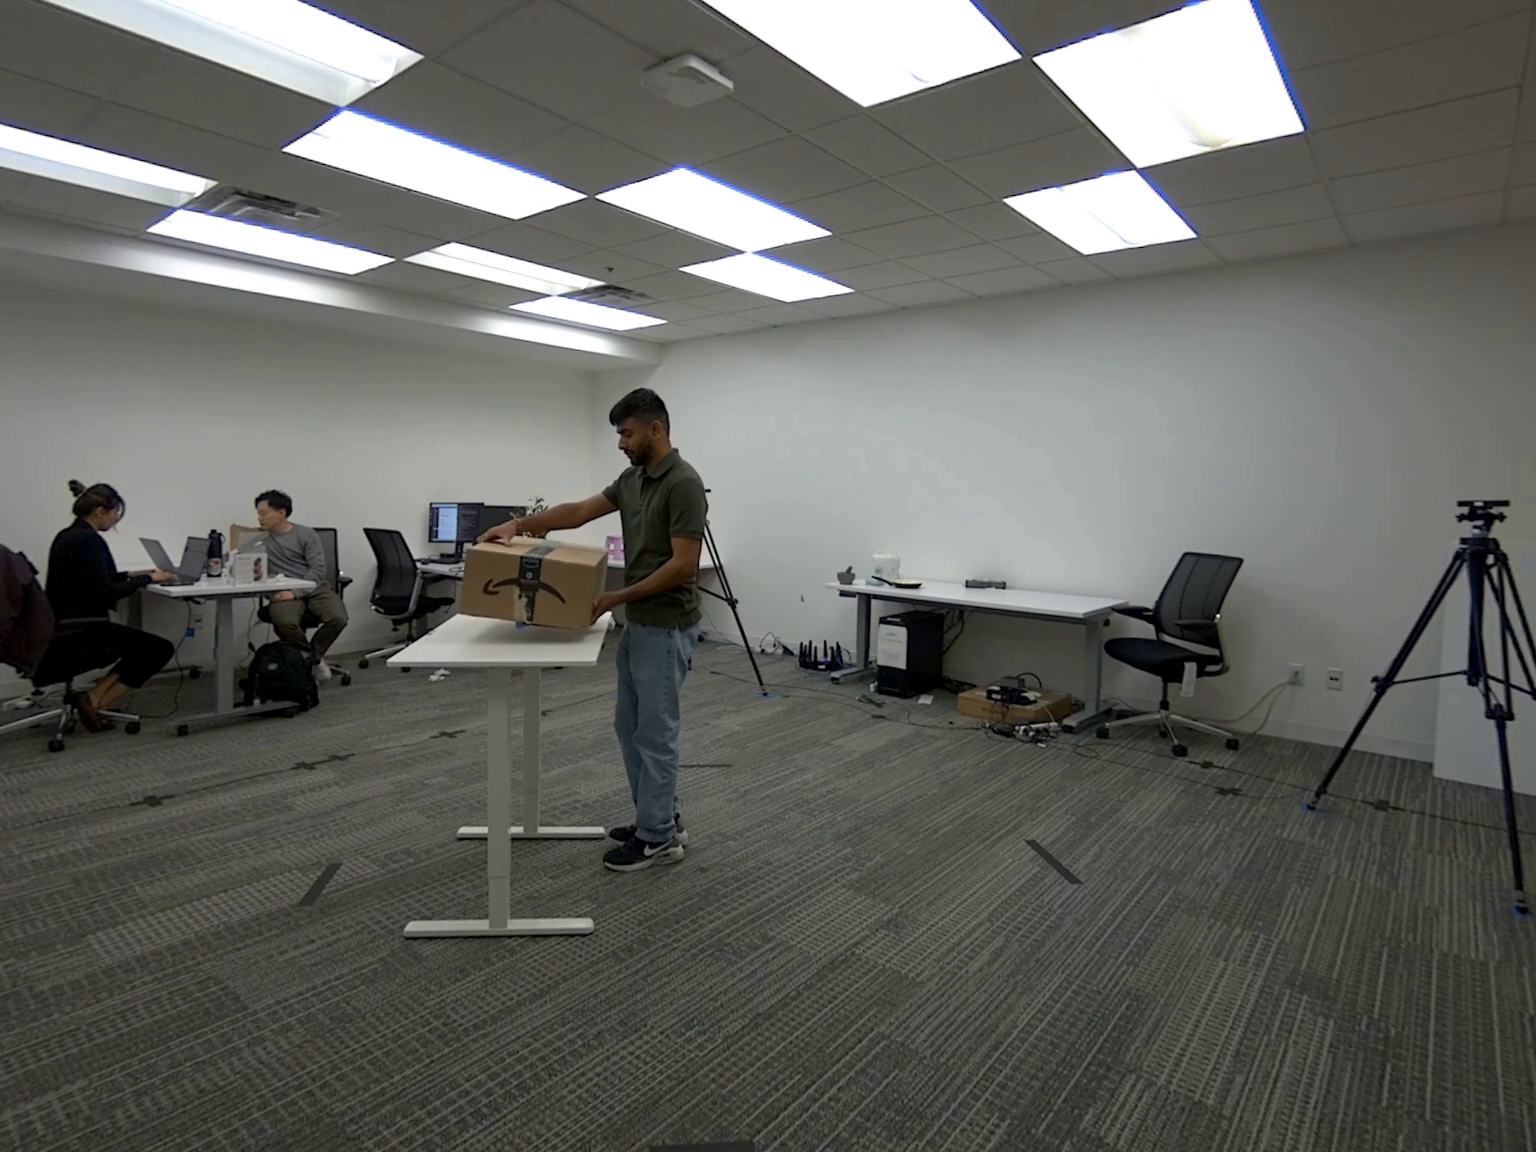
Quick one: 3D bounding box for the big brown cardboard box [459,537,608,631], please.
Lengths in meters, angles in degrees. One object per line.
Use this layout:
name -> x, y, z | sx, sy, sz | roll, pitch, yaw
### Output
big brown cardboard box -> -0.807, 0.000, 3.016 | 0.416, 0.232, 0.594 | 7, 6, -5
